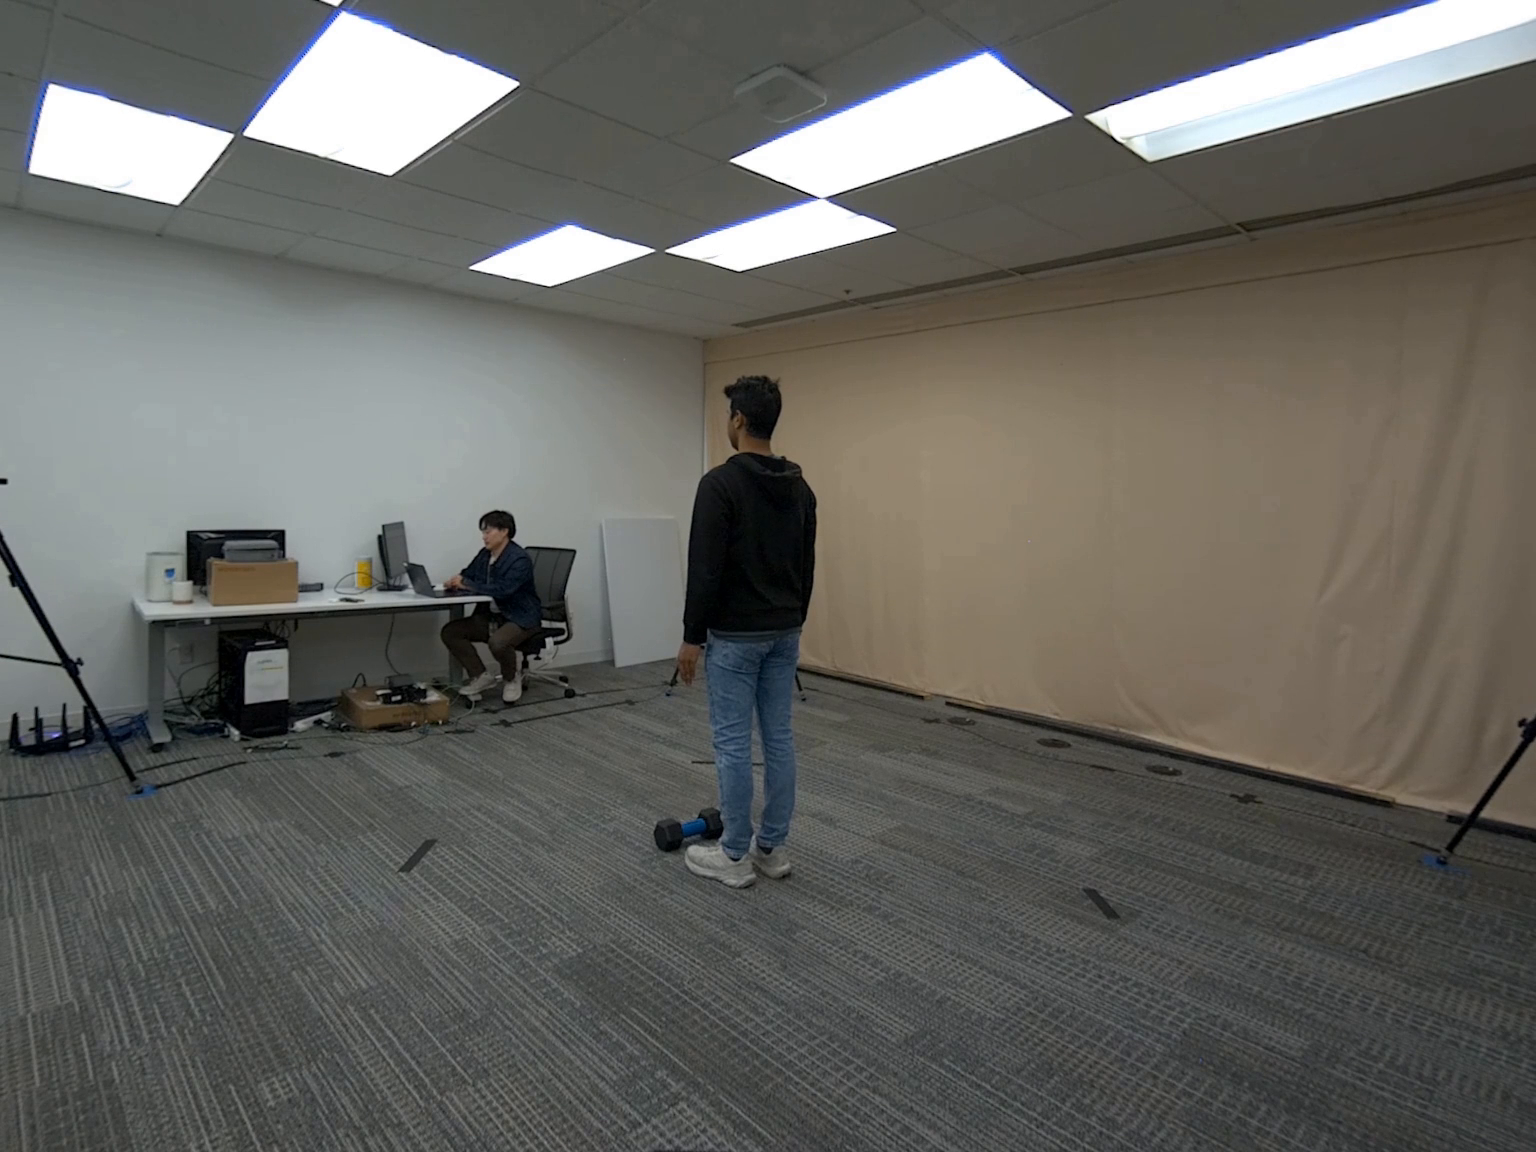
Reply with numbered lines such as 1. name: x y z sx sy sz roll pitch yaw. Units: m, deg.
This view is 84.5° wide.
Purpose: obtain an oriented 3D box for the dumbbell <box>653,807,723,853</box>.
1. dumbbell: -0.325 1.023 3.400 0.287 0.125 0.109 -3 -26 -40
